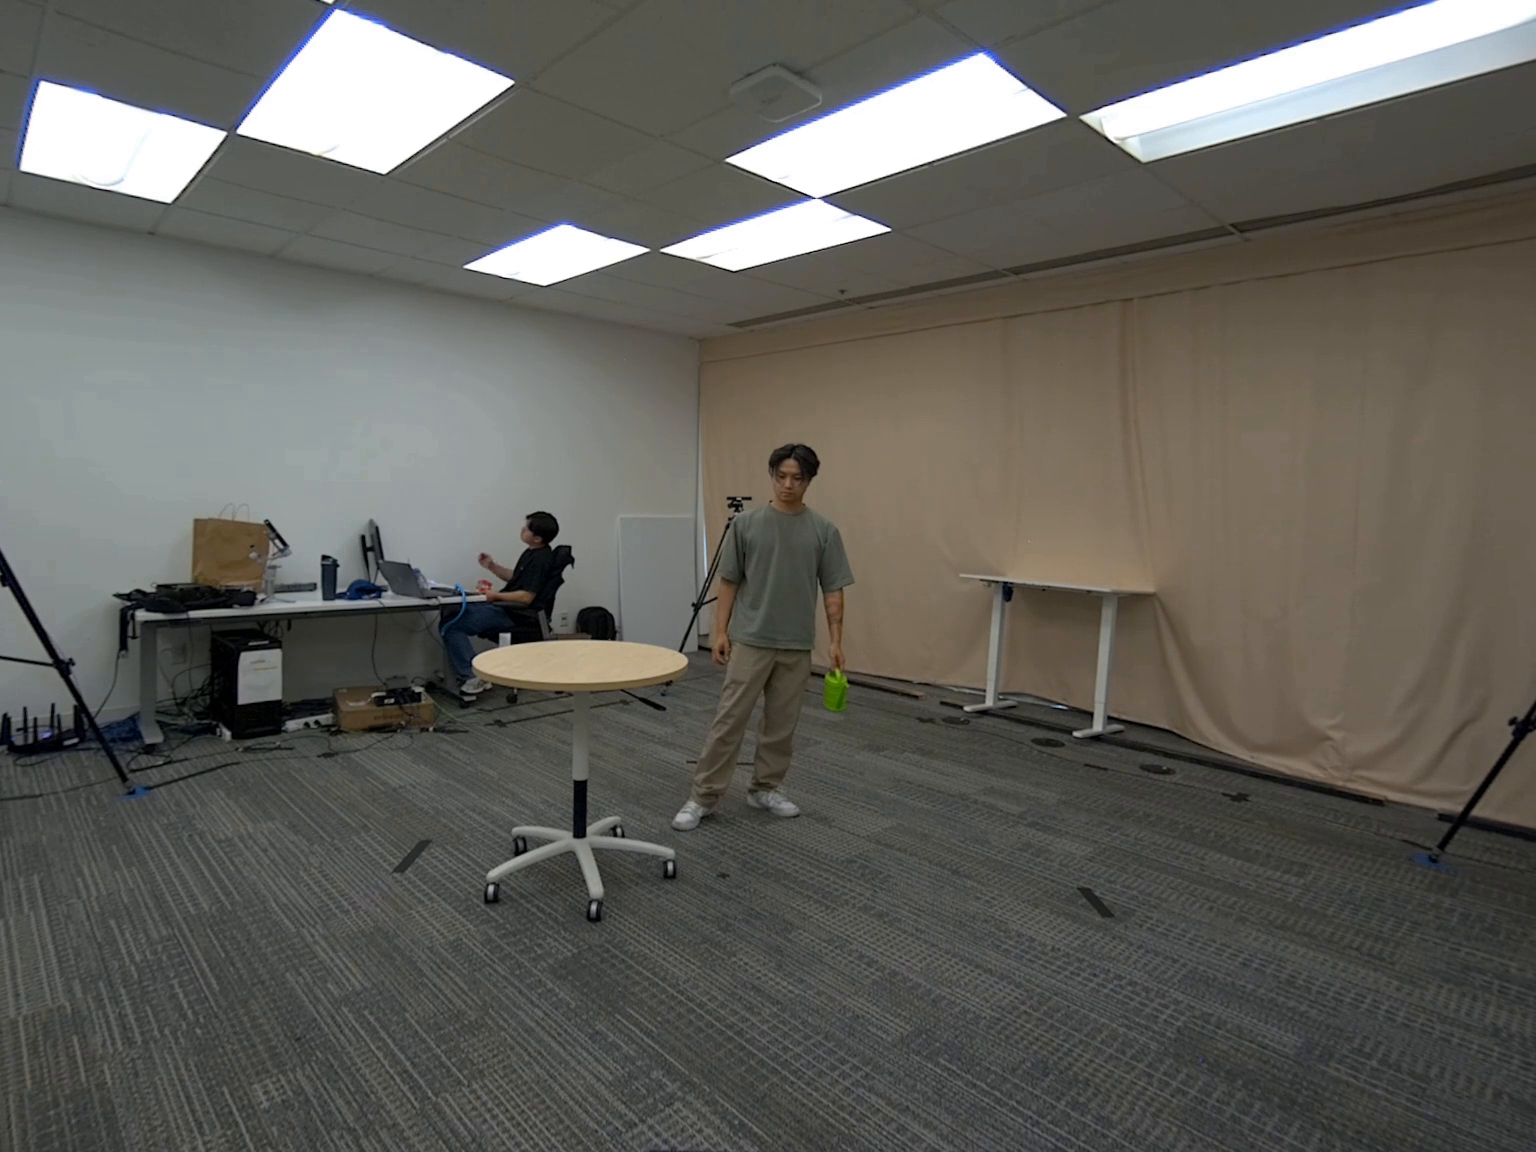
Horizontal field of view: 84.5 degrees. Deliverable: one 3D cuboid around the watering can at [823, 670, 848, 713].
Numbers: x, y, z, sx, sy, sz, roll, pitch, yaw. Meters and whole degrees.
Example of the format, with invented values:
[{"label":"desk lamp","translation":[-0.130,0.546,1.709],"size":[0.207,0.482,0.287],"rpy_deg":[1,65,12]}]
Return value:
[{"label":"watering can","translation":[0.280,0.496,3.616],"size":[0.098,0.175,0.280],"rpy_deg":[3,15,2]}]
